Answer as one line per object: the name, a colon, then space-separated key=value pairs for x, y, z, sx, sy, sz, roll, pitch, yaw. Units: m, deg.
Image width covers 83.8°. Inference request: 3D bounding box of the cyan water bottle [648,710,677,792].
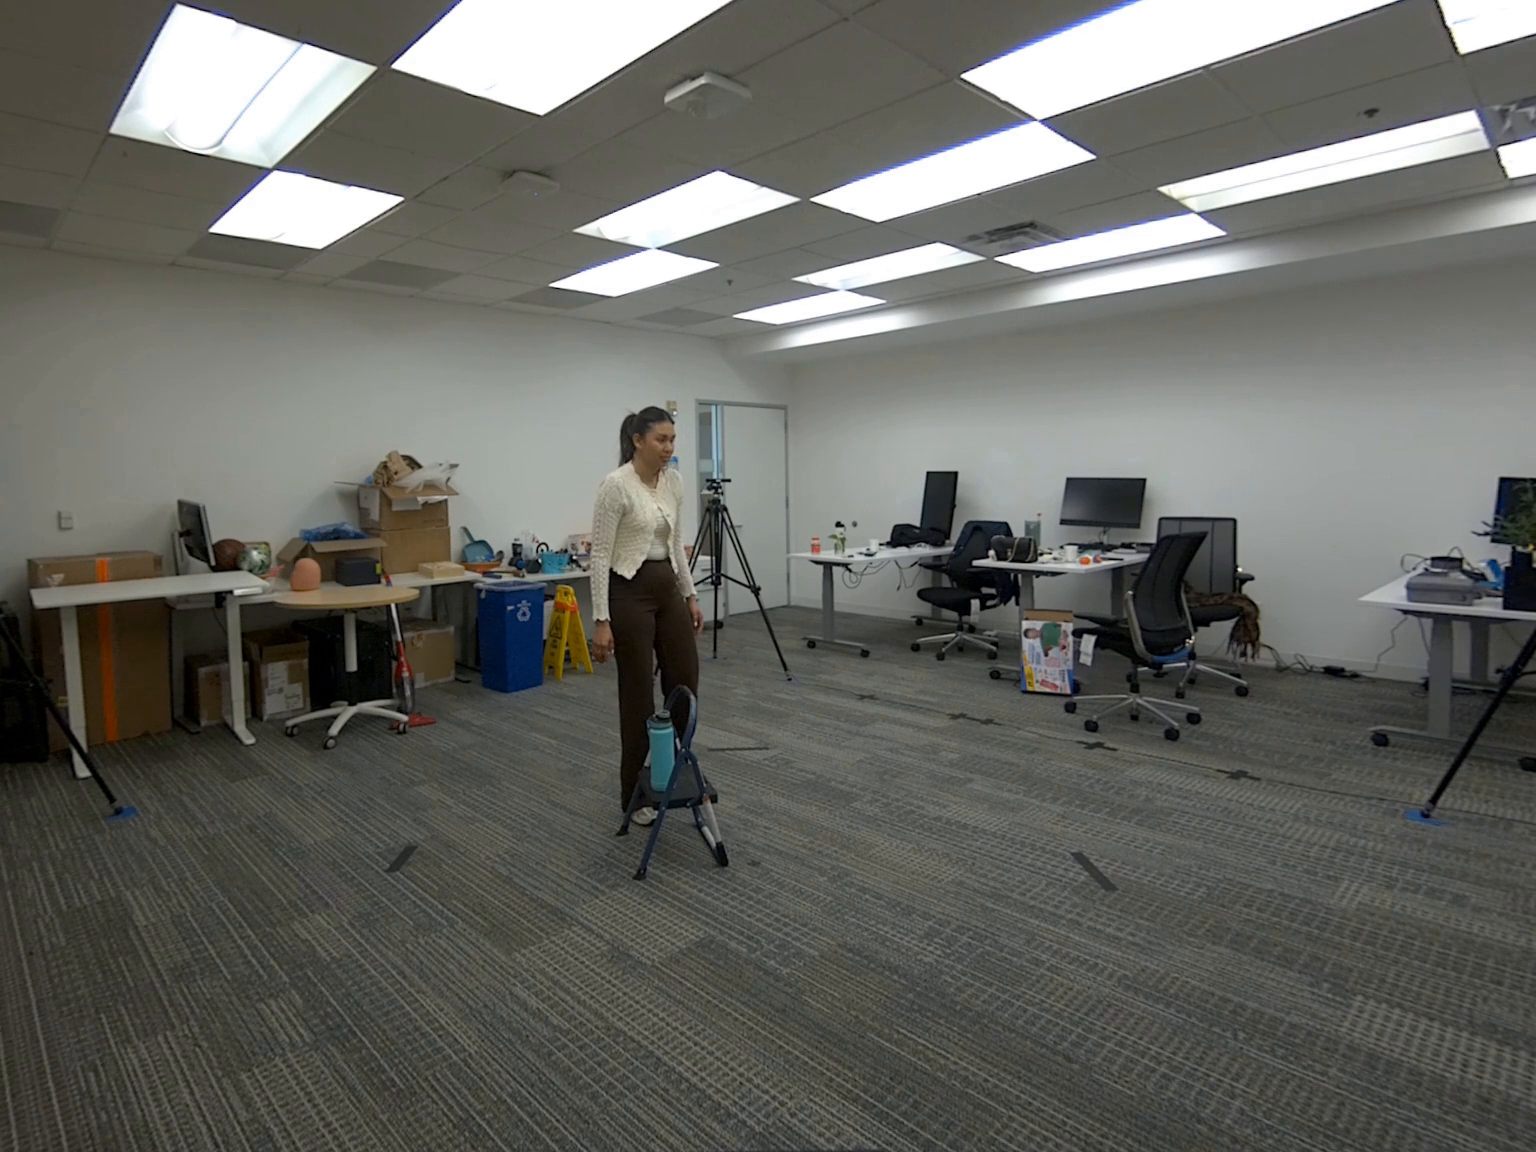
cyan water bottle: x=-0.402 y=0.648 z=3.158 sx=0.092 sy=0.282 sz=0.093 roll=-3 pitch=5 yaw=-1
